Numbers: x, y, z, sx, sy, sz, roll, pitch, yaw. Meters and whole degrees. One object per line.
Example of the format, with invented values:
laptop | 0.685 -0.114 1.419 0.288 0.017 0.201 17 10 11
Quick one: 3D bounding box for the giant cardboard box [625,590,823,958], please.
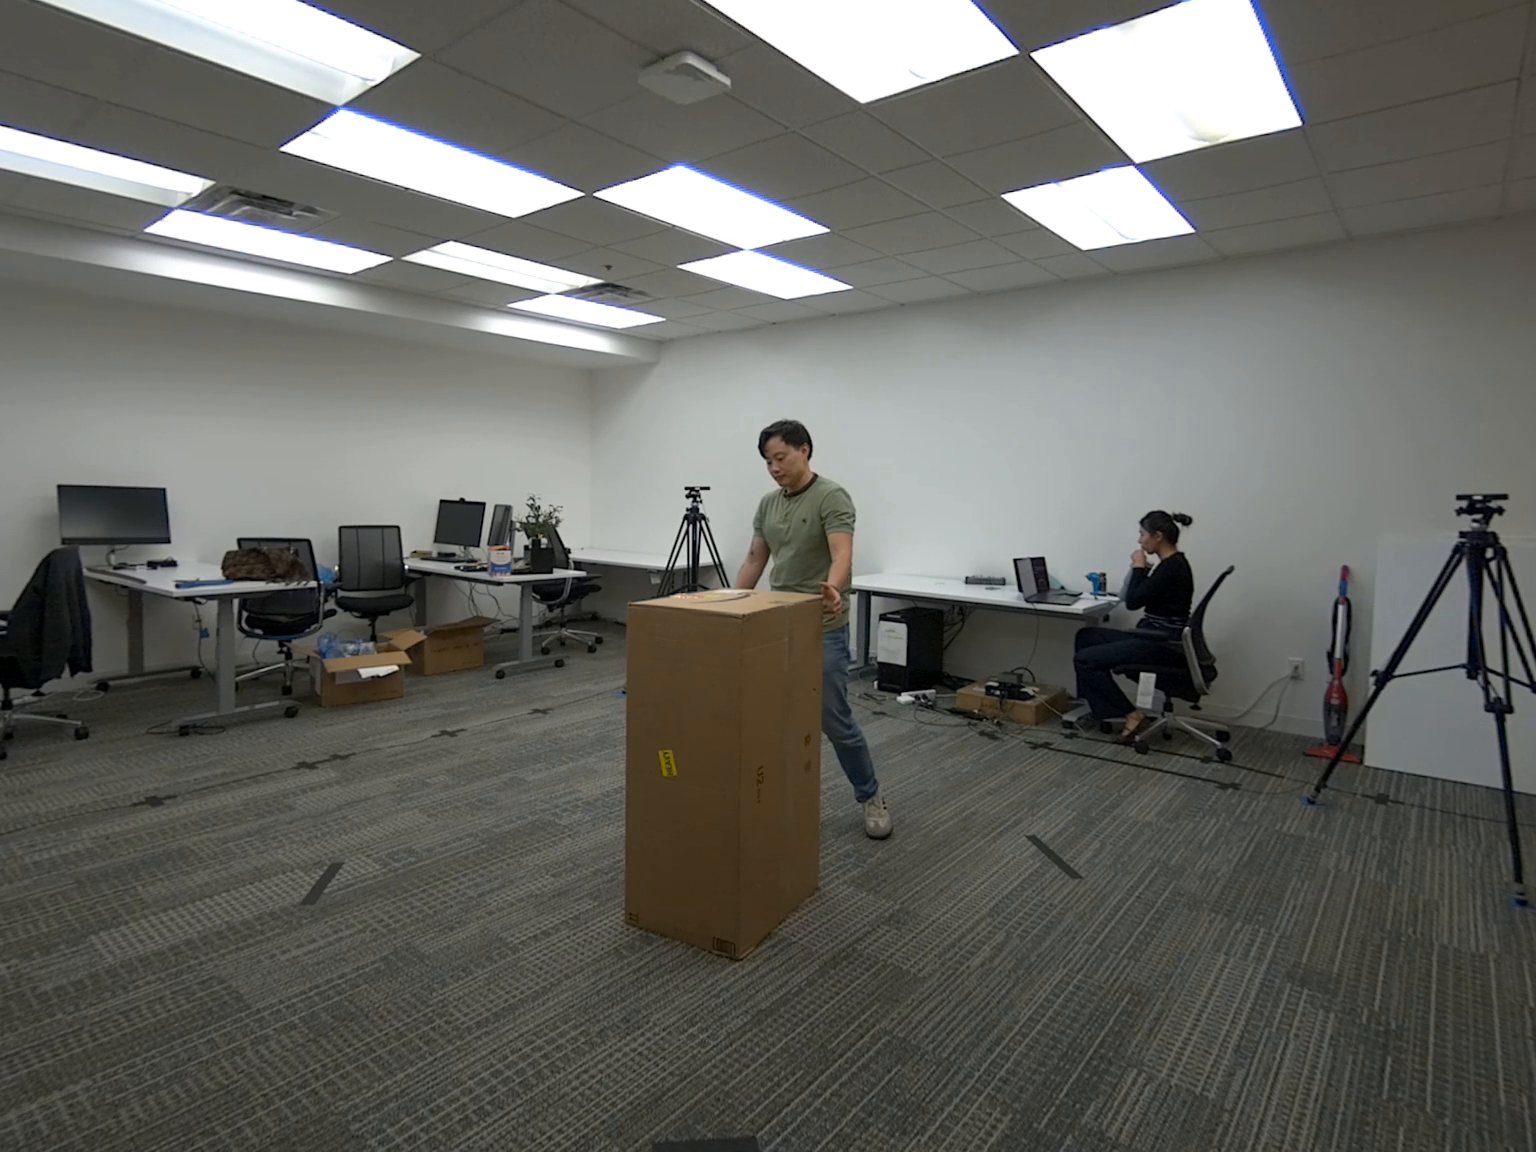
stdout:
giant cardboard box | -0.143 0.584 2.815 0.438 1.023 0.563 2 3 29
